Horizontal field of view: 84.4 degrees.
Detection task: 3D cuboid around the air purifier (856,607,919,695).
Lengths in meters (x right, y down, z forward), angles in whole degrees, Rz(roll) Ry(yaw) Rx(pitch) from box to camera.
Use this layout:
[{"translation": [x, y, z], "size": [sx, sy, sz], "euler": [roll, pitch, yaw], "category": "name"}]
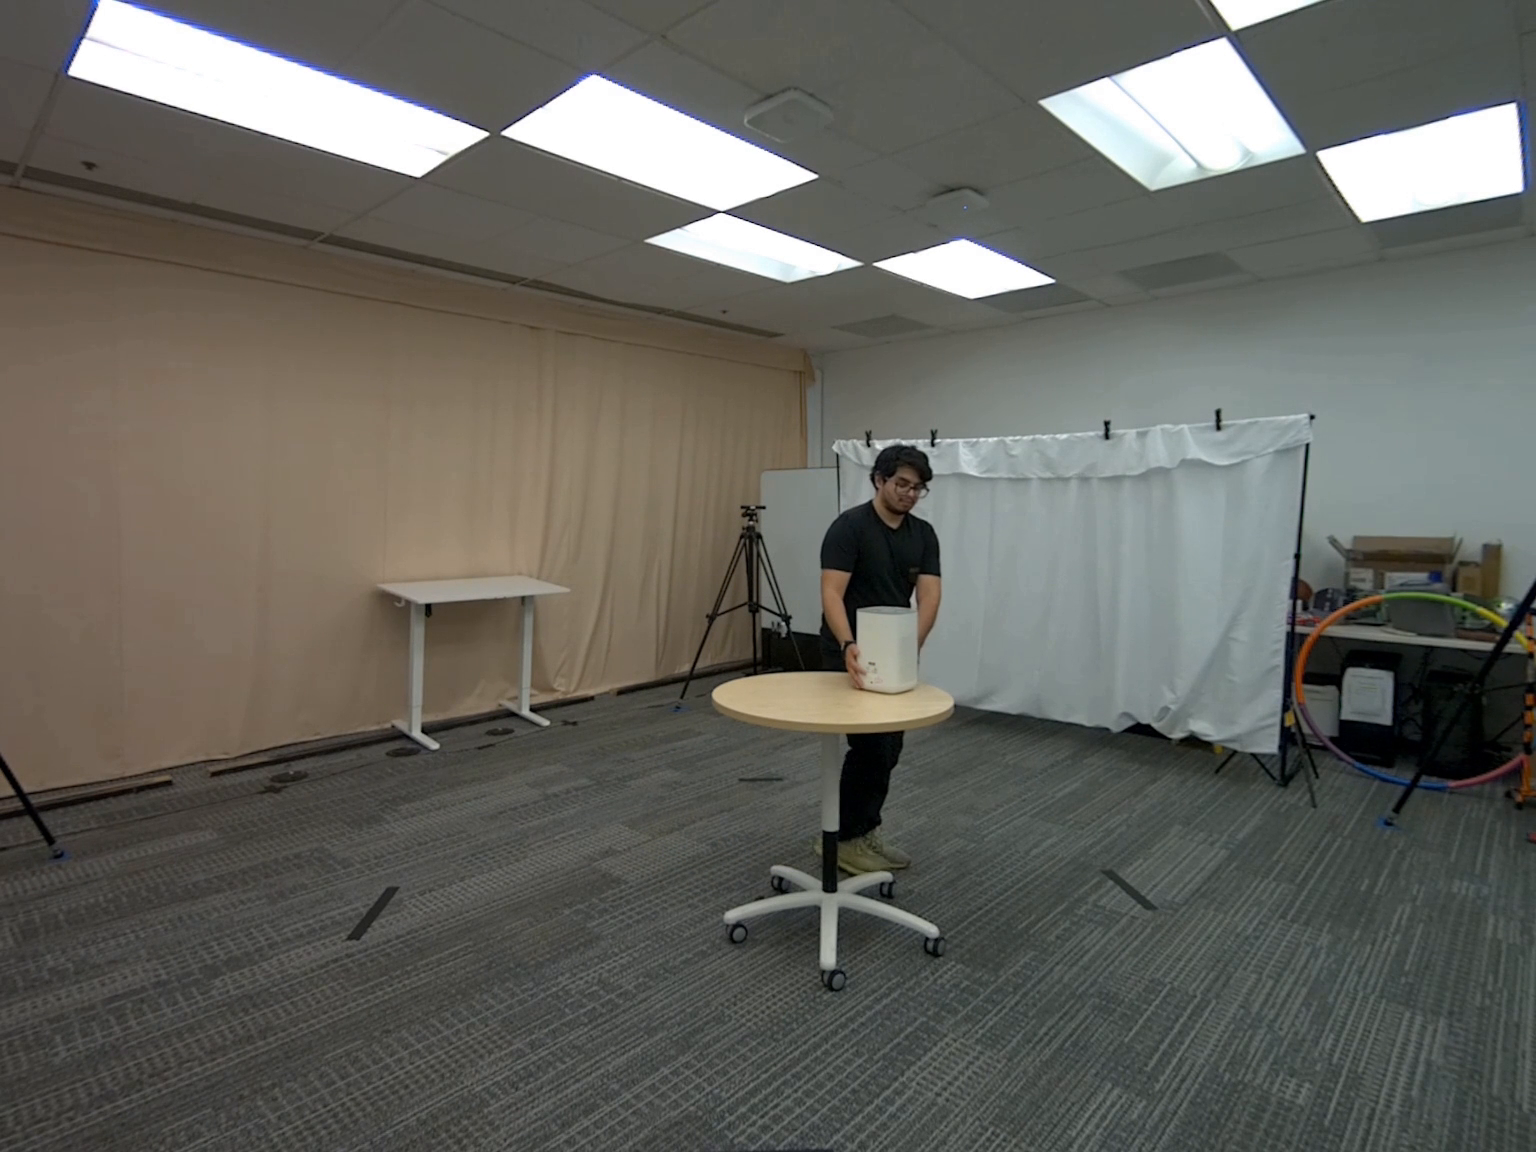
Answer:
[{"translation": [0.406, 0.242, 2.785], "size": [0.177, 0.265, 0.166], "euler": [3, 4, 43], "category": "air purifier"}]
